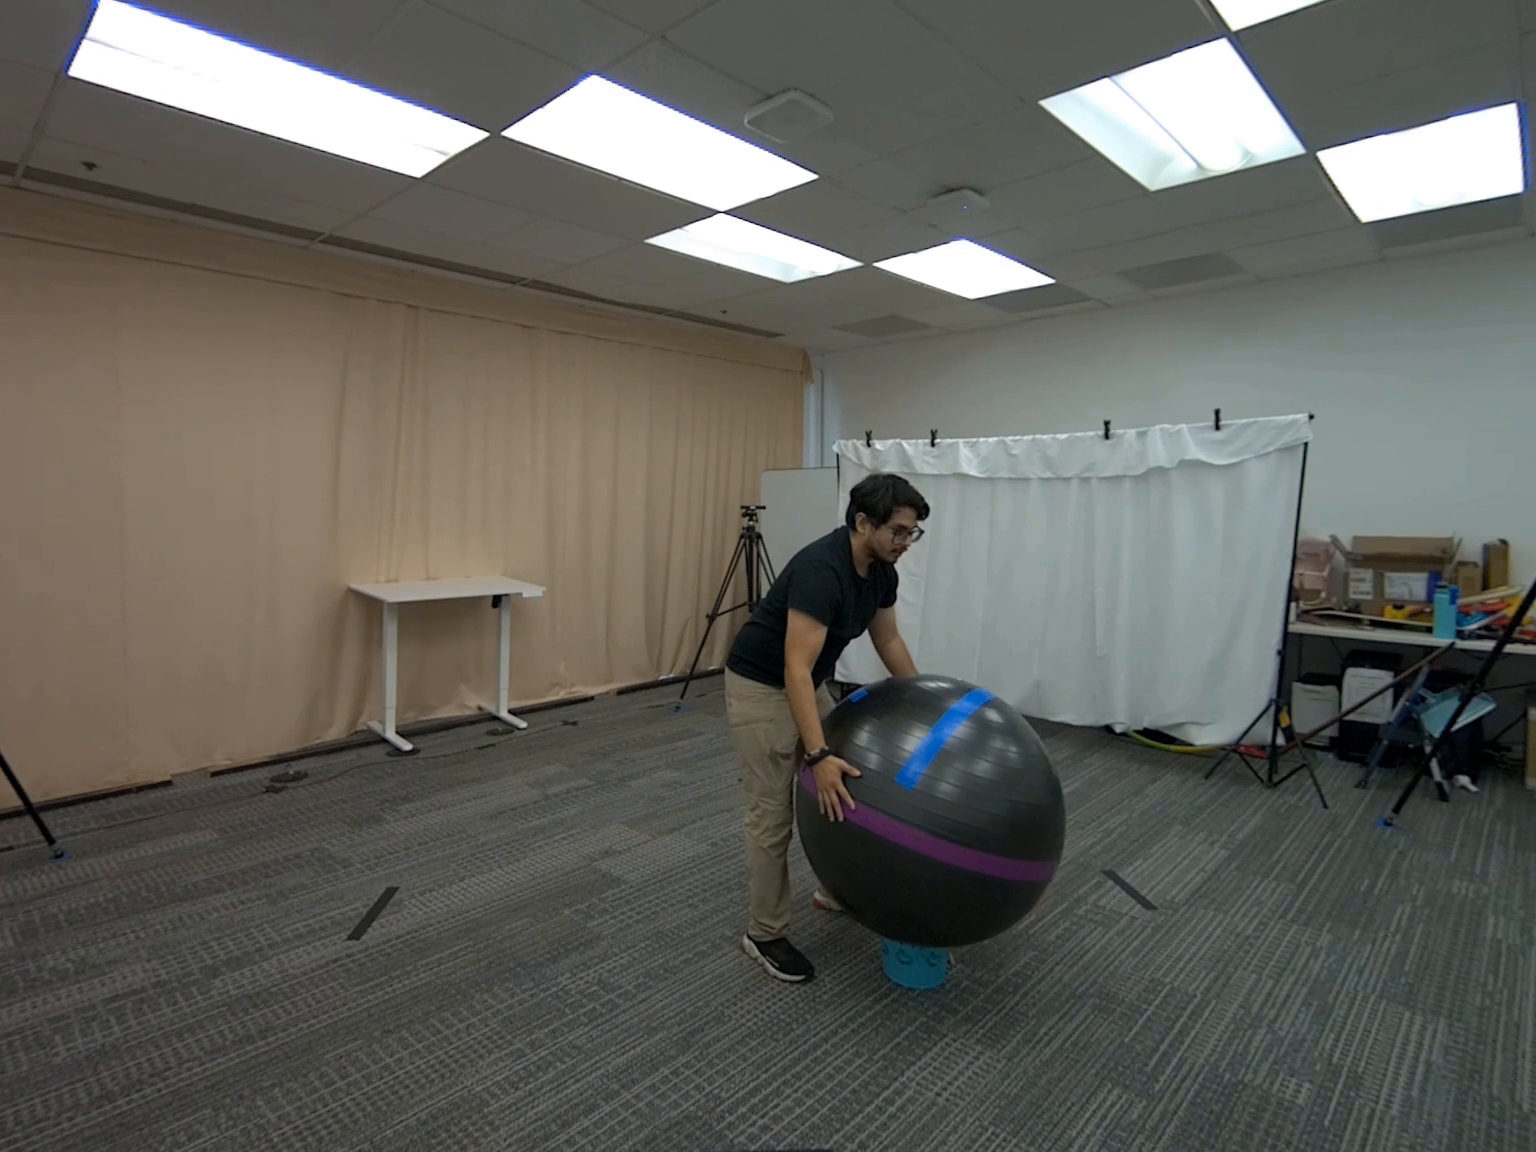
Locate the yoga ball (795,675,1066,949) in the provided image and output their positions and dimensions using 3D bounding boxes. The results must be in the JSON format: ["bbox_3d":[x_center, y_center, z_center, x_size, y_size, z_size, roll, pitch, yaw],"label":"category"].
[{"bbox_3d":[0.481,0.681,2.454,0.757,0.756,0.761,0,4,-2],"label":"yoga ball"}]
